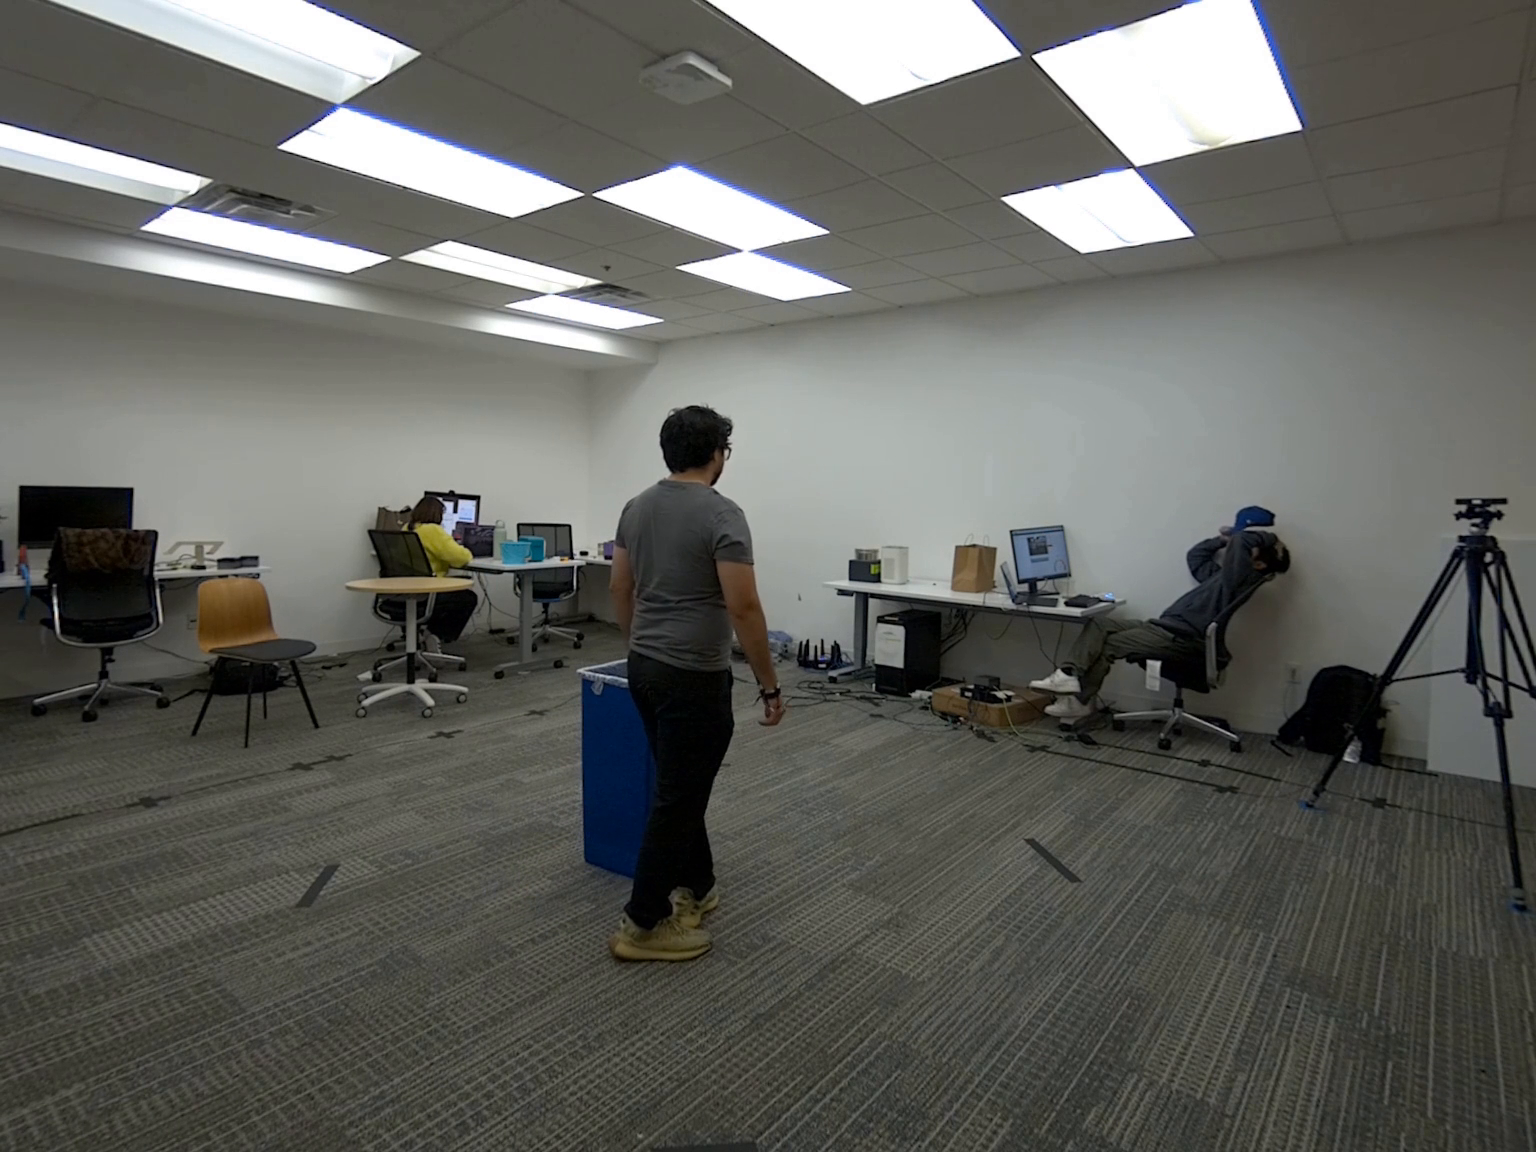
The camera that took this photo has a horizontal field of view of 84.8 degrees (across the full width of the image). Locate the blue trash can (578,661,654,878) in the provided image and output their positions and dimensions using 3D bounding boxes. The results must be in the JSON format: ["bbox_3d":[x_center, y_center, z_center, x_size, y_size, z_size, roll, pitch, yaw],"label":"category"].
[{"bbox_3d":[-0.486,0.700,3.193,0.390,0.712,0.363,3,3,33],"label":"blue trash can"}]
